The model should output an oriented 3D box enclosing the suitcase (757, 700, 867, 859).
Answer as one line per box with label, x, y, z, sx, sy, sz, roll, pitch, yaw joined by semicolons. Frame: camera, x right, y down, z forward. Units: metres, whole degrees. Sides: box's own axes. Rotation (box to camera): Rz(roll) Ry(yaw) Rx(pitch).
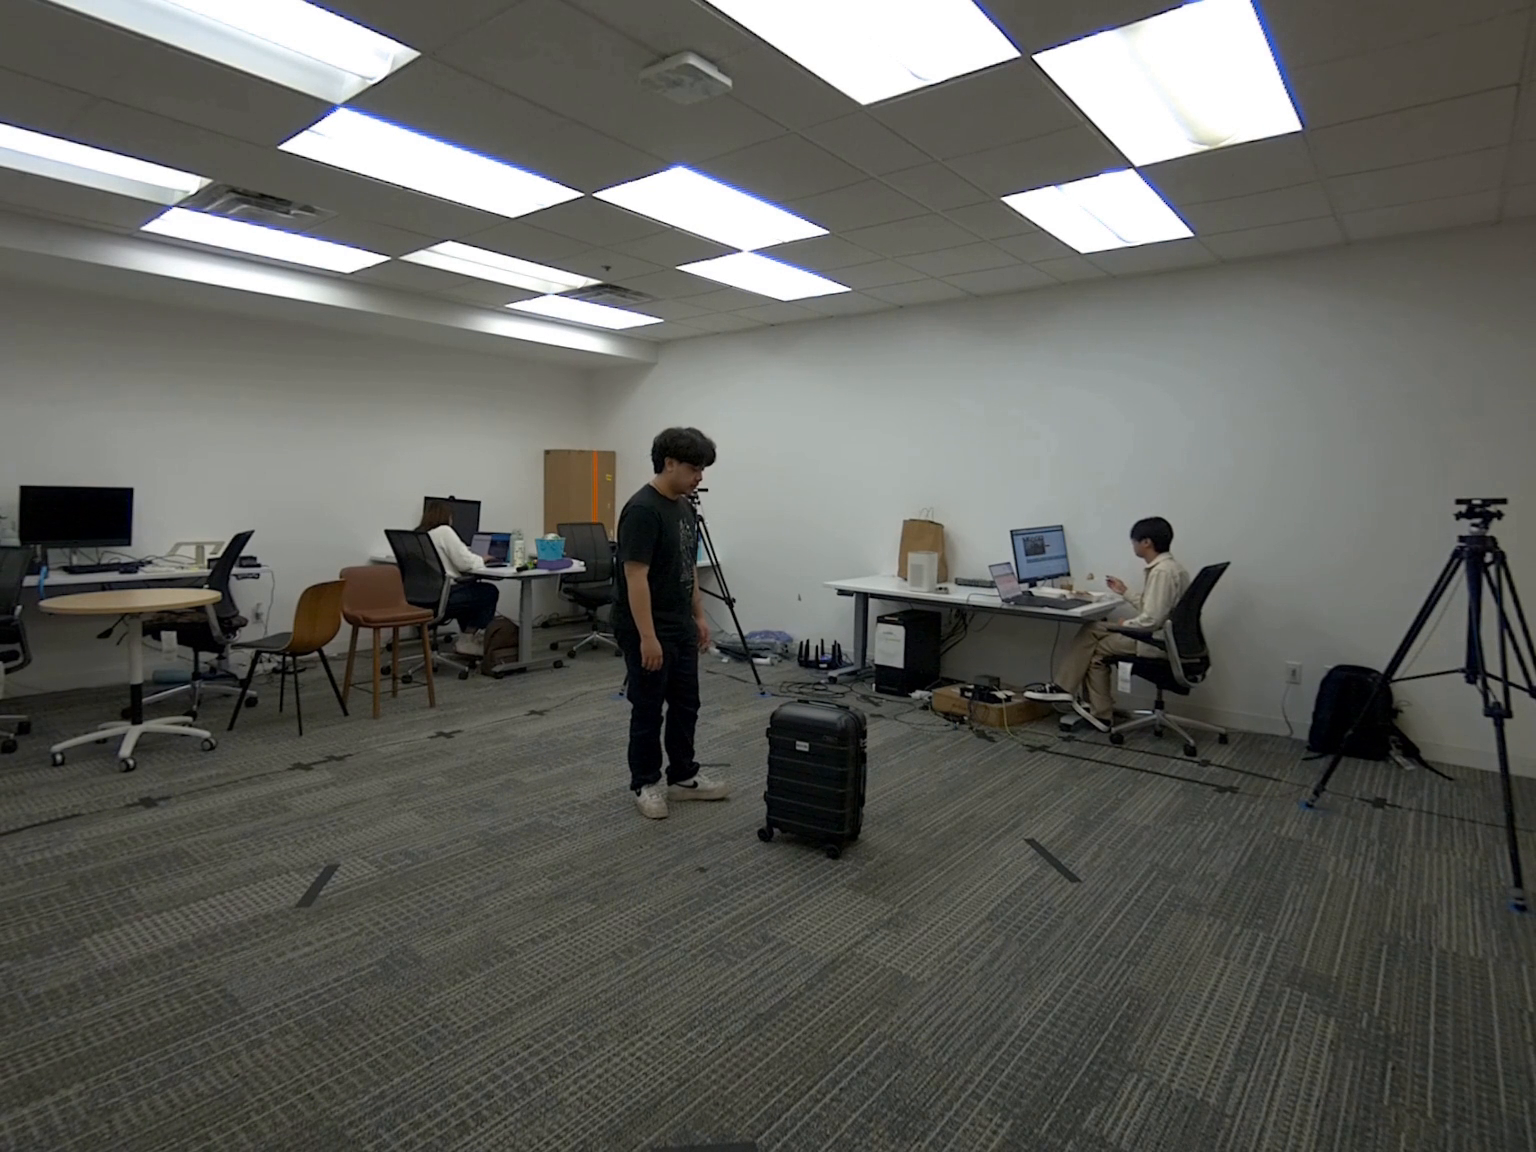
suitcase;0.187;0.776;3.380;0.386;0.547;0.242;5;5;27
